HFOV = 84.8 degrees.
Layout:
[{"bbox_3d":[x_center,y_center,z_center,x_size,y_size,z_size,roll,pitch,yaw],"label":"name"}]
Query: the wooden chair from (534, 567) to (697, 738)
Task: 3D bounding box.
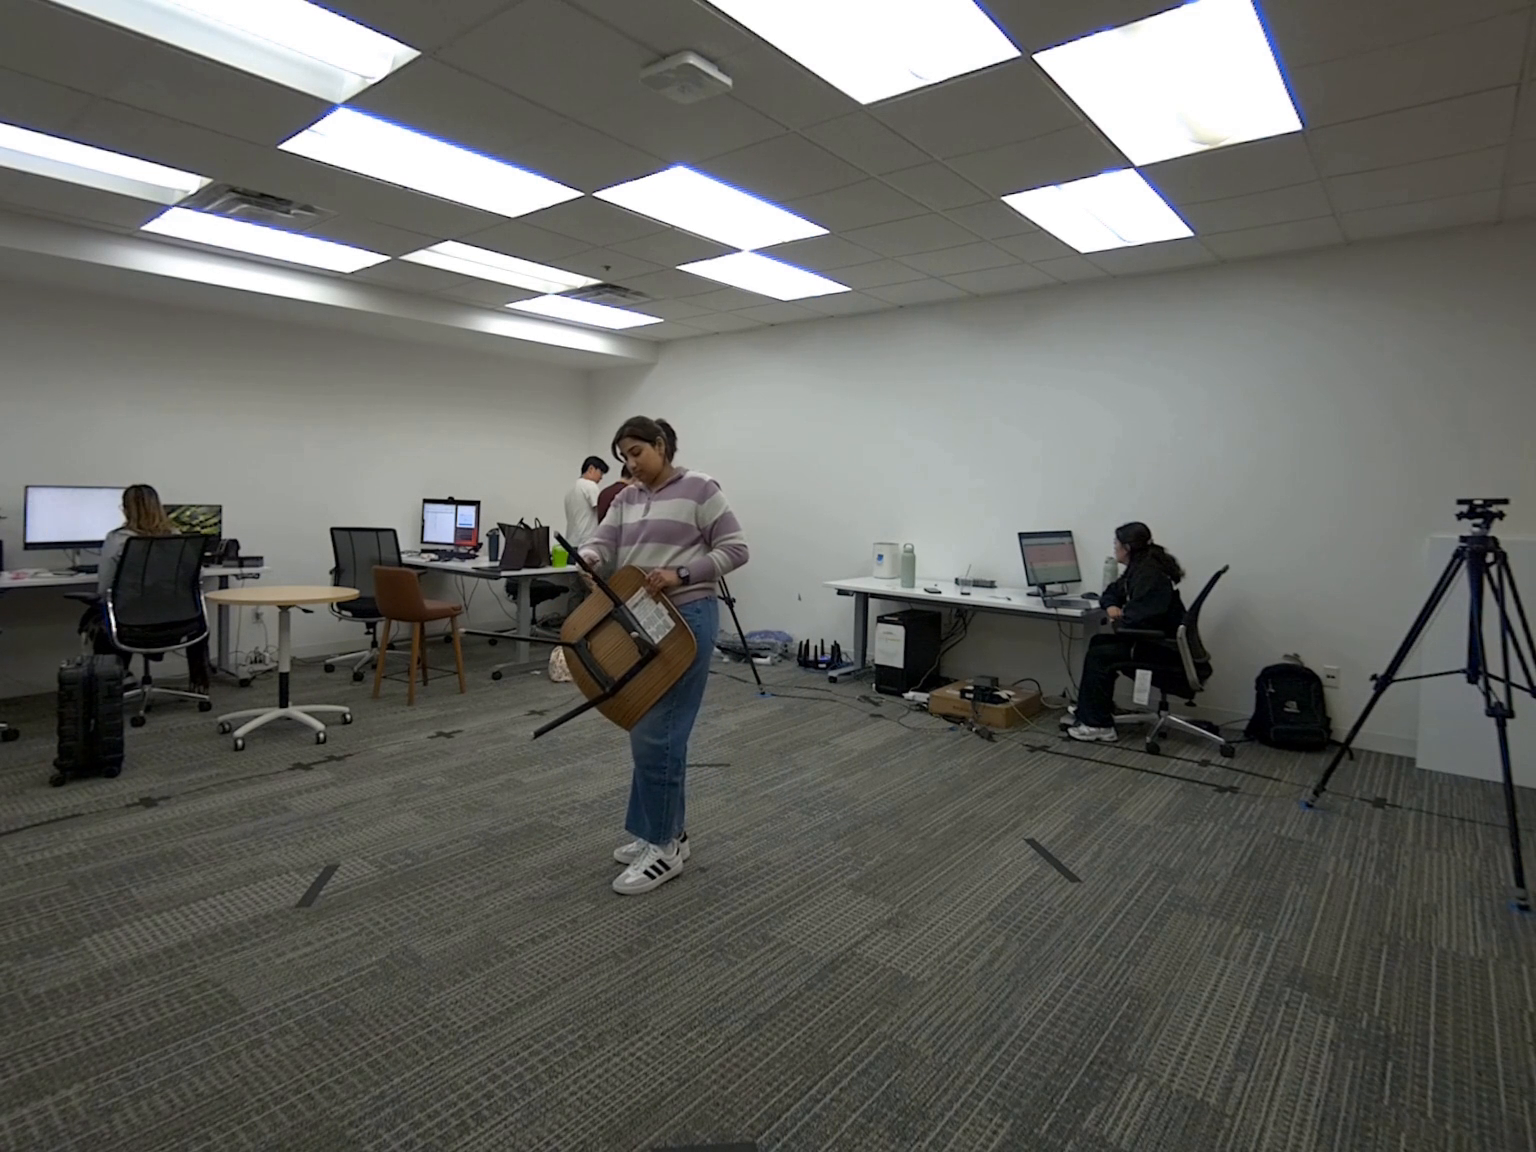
[{"bbox_3d":[-0.559,0.252,2.959,0.494,0.523,0.849,48,3,23],"label":"wooden chair"}]
